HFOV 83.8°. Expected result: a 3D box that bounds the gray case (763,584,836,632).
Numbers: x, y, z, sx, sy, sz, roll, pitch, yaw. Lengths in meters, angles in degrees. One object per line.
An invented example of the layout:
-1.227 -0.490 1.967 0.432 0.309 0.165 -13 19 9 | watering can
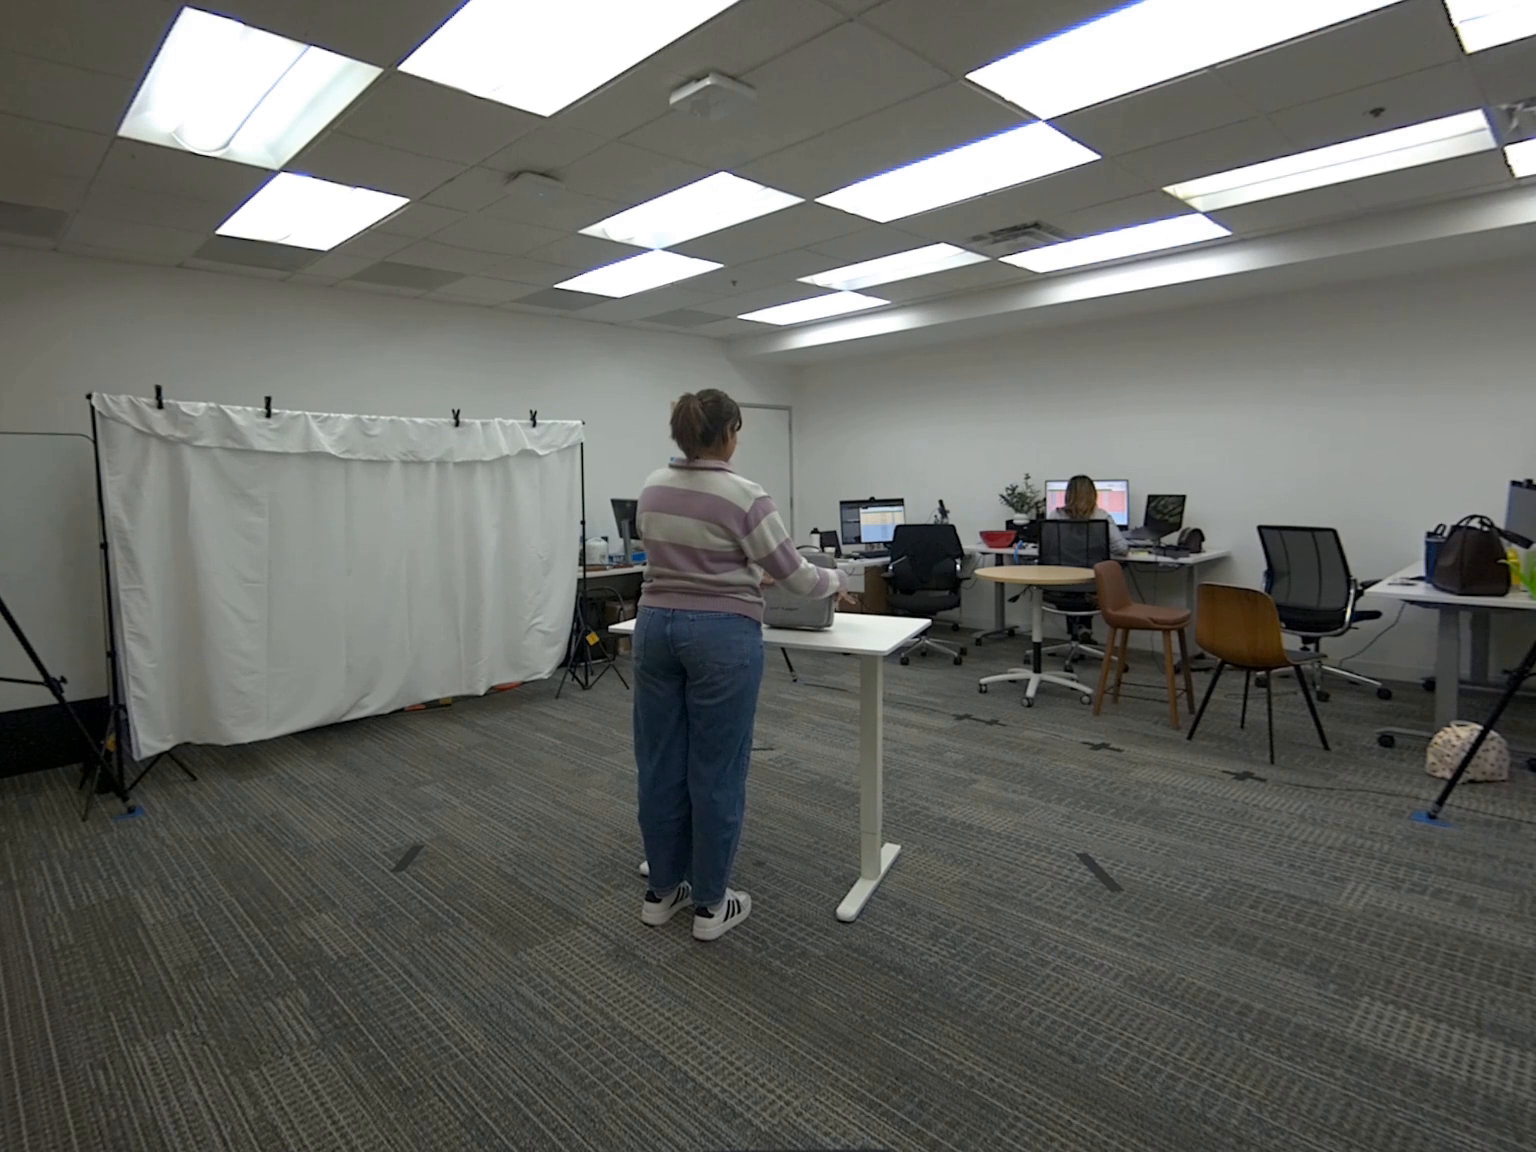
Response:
0.109 0.044 2.948 0.263 0.262 0.101 2 -10 26 | gray case
